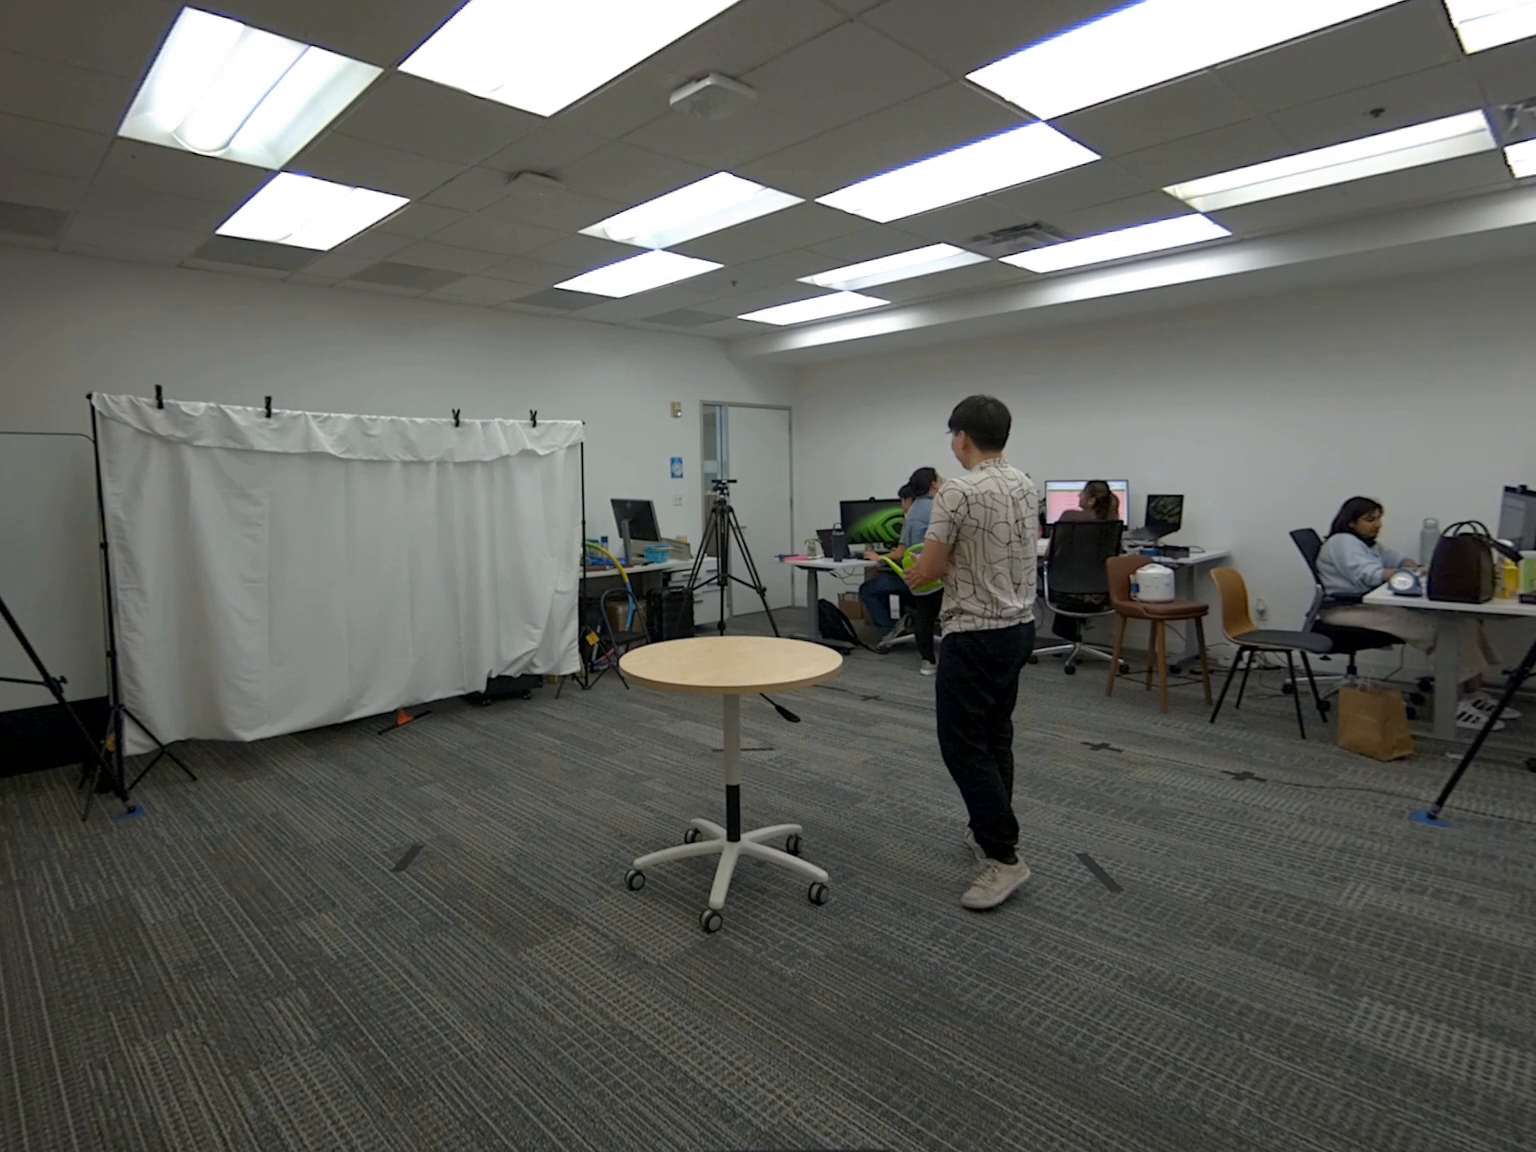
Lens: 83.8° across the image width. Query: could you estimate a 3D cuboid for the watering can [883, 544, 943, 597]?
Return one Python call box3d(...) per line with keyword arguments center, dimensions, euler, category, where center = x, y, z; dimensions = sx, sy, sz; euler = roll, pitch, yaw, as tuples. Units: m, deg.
box3d(center=(0.582, -0.025, 3.332), dimensions=(0.096, 0.178, 0.281), euler=(-11, -6, -27), category="watering can")
